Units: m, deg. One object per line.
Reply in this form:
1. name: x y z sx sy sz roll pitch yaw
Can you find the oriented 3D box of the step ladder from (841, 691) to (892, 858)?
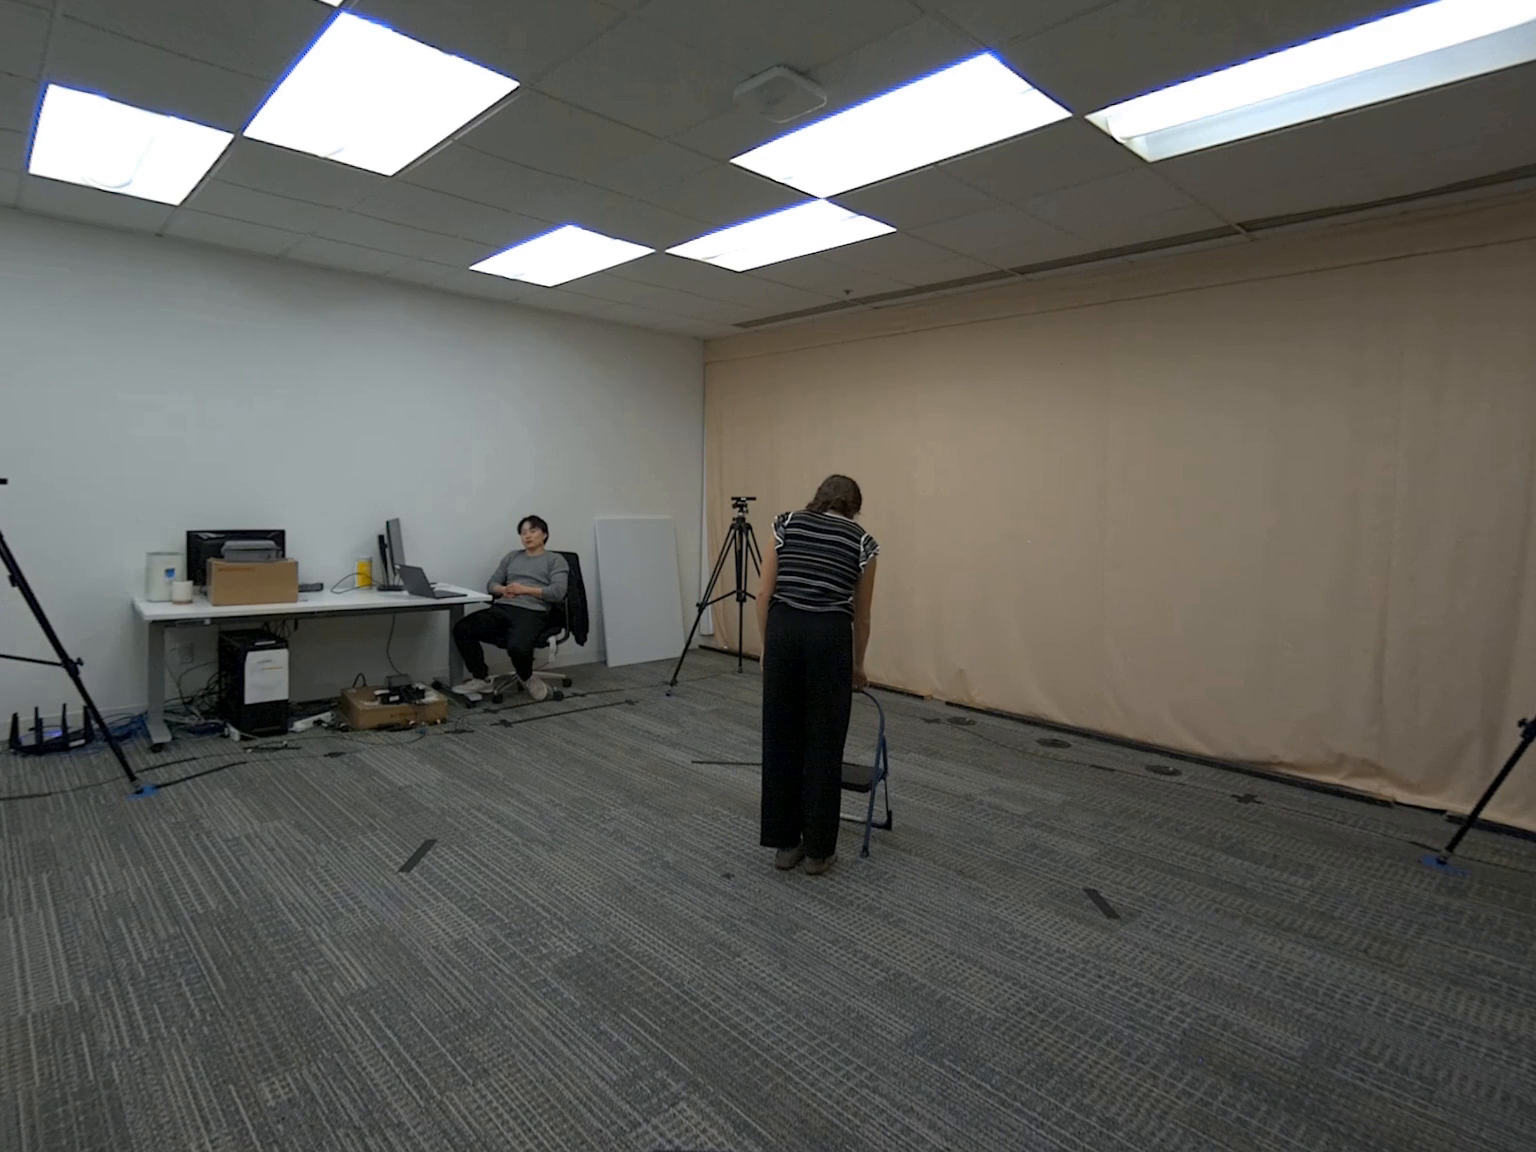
1. step ladder: 0.279 0.779 3.537 0.439 0.605 0.343 3 3 28
